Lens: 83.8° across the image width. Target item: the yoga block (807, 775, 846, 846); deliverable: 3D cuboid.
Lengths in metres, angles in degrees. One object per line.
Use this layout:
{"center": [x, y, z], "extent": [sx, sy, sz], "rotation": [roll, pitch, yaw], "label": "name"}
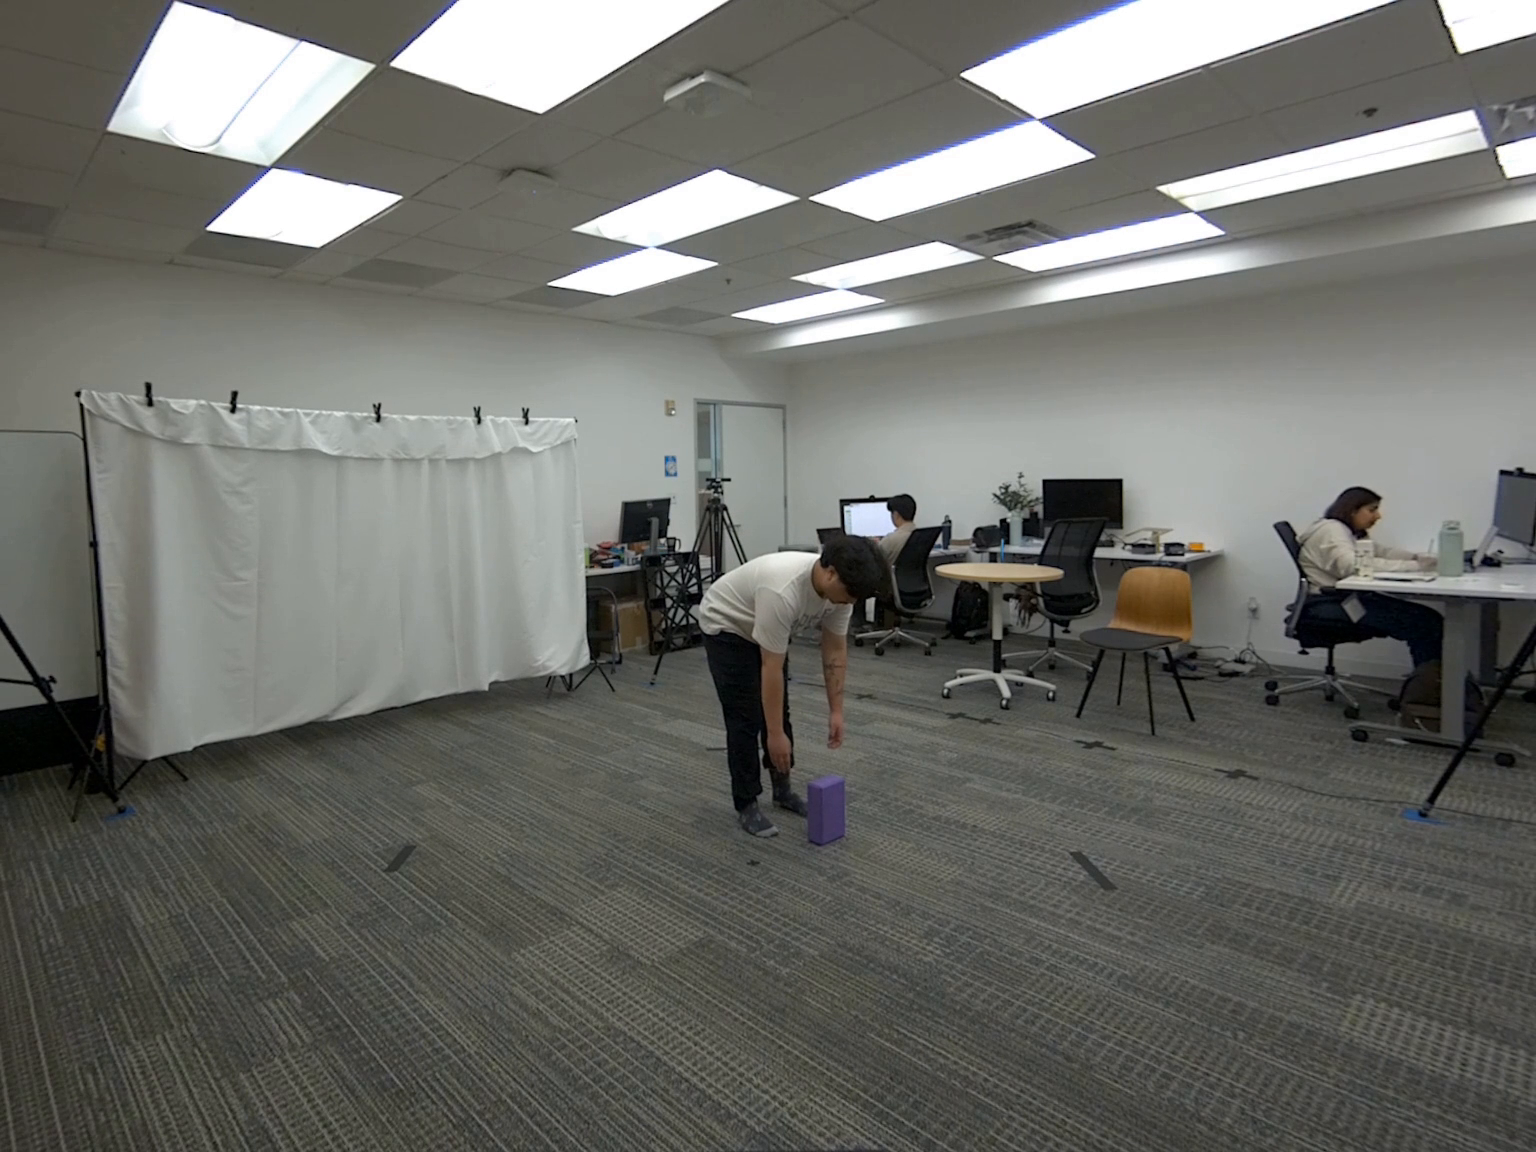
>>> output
{"center": [0.226, 0.899, 3.301], "extent": [0.145, 0.229, 0.079], "rotation": [-4, 4, -44], "label": "yoga block"}
